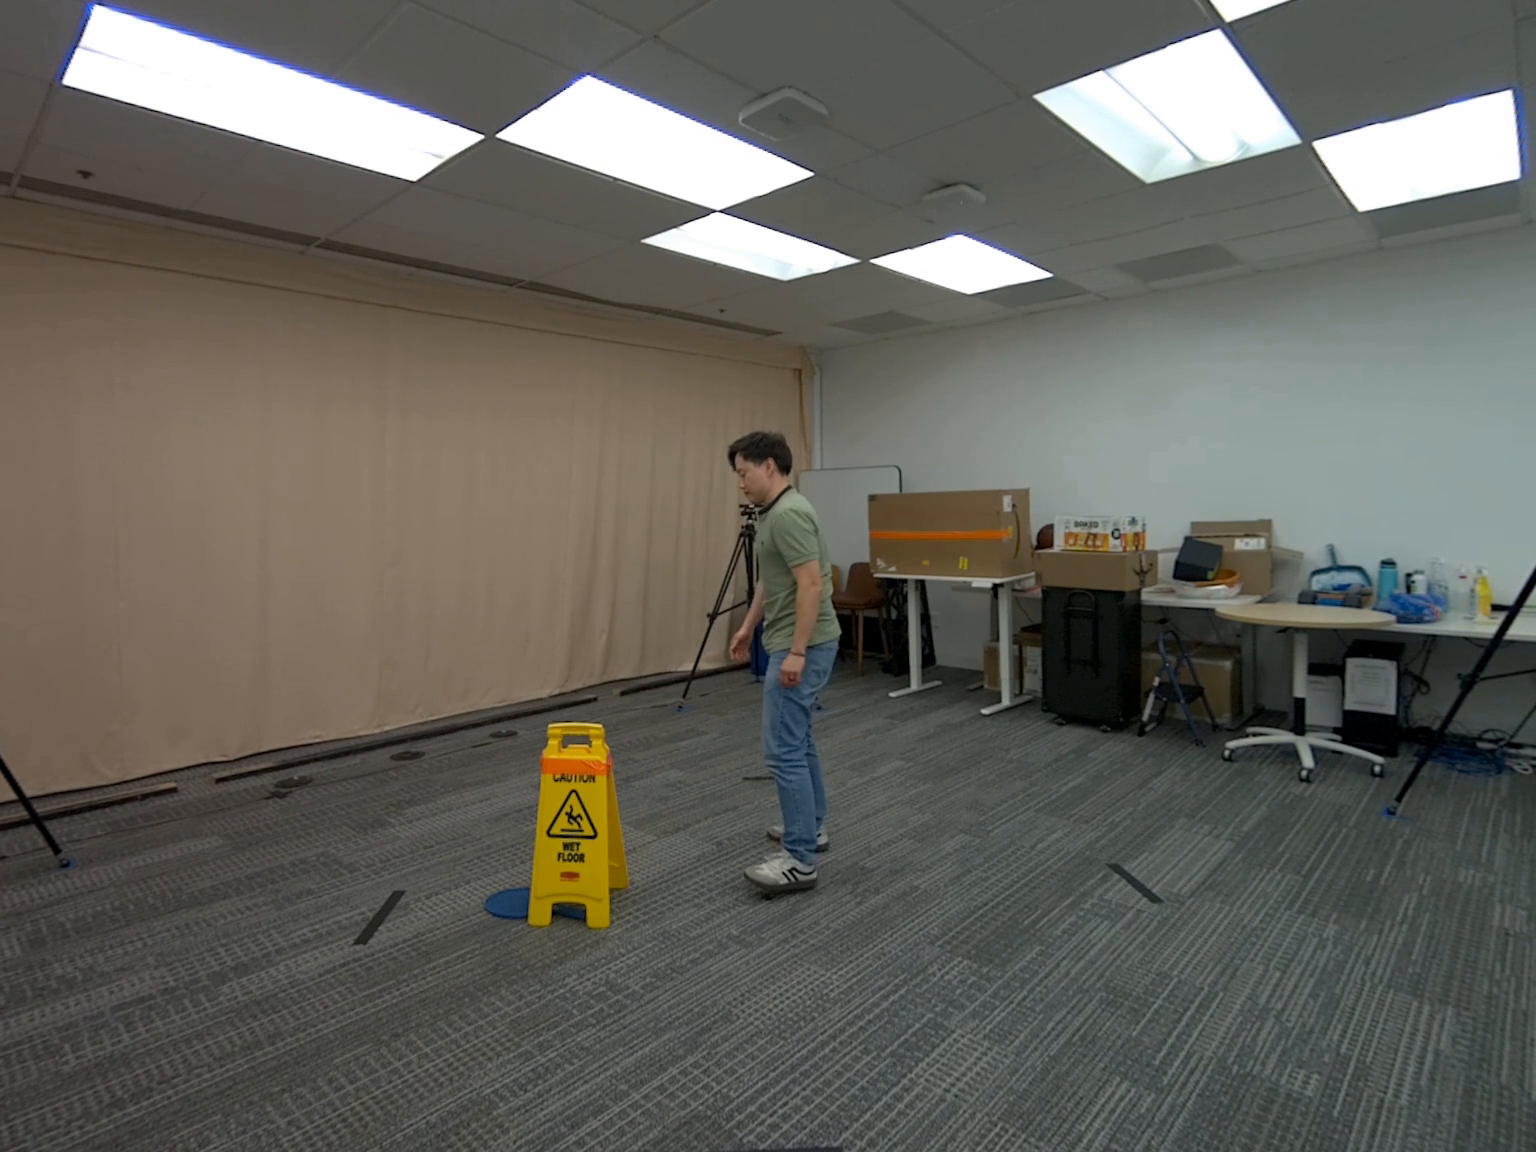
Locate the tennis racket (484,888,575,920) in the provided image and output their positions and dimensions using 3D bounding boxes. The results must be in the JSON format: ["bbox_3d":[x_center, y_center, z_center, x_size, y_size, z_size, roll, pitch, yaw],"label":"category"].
[{"bbox_3d":[-0.942,1.156,3.004,0.446,0.032,0.207,1,5,37],"label":"tennis racket"}]
